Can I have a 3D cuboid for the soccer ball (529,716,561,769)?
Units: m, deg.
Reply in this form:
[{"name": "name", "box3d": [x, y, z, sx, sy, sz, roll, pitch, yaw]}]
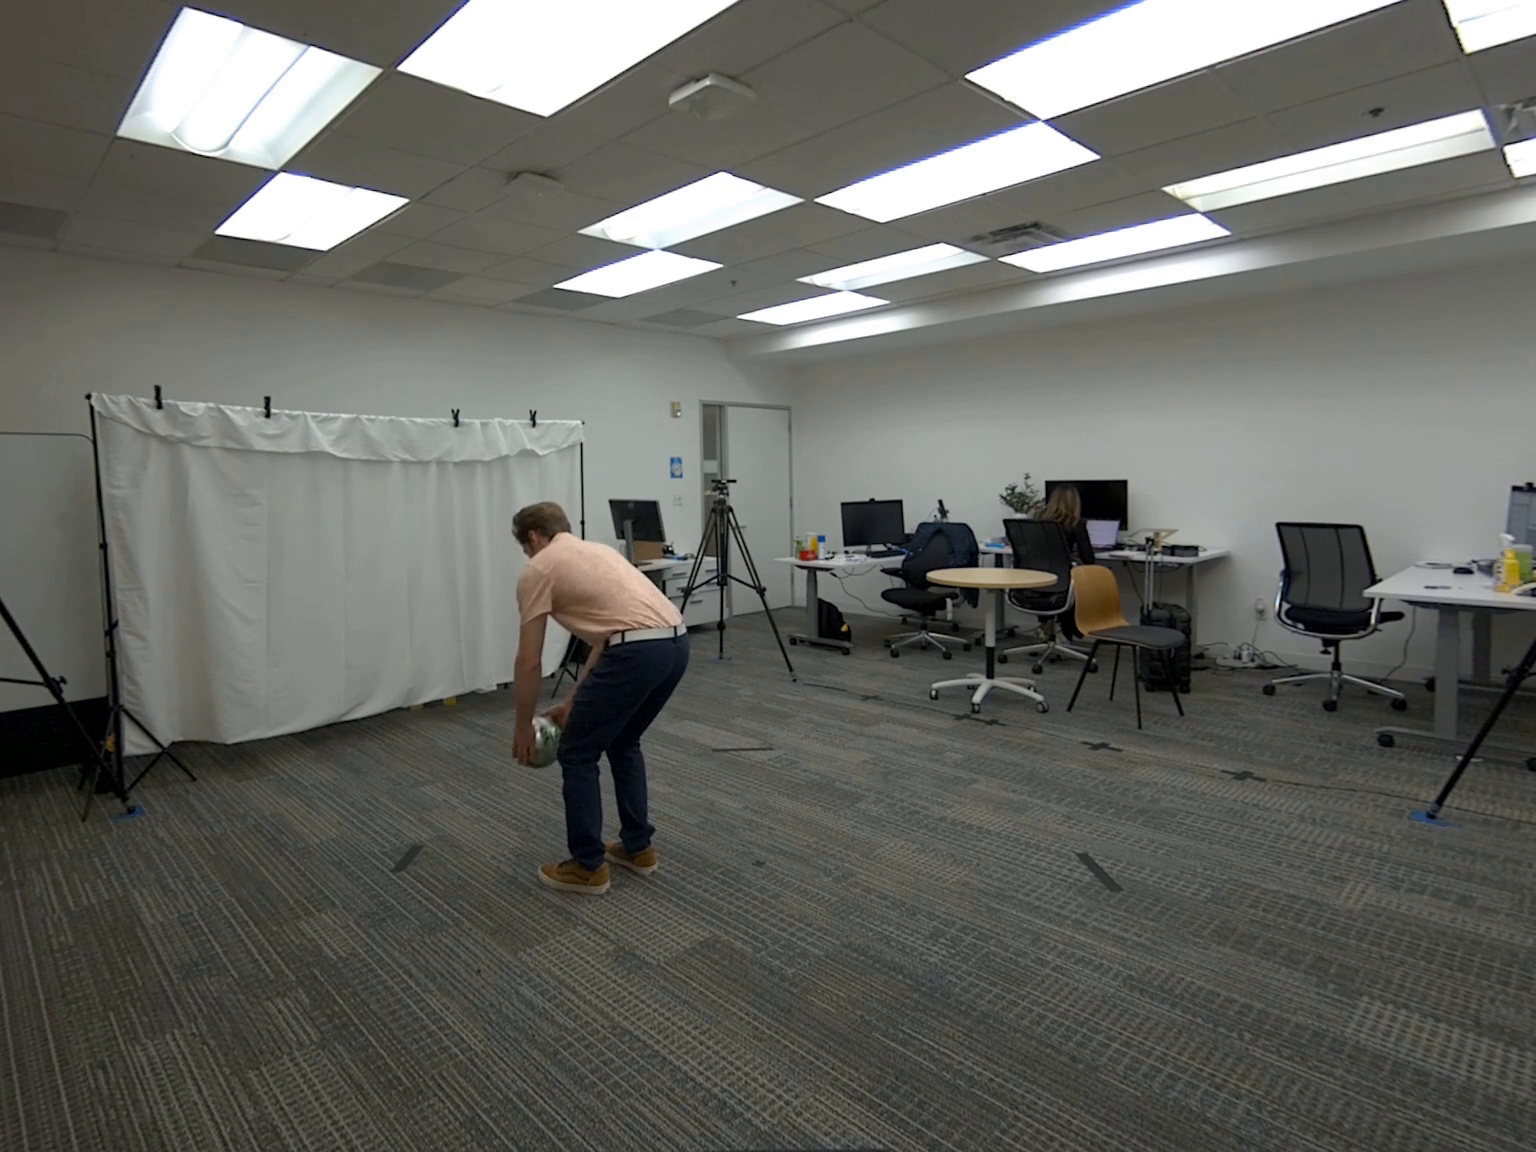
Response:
[{"name": "soccer ball", "box3d": [-0.841, 0.618, 3.184, 0.187, 0.187, 0.188, -1, 5, -2]}]
